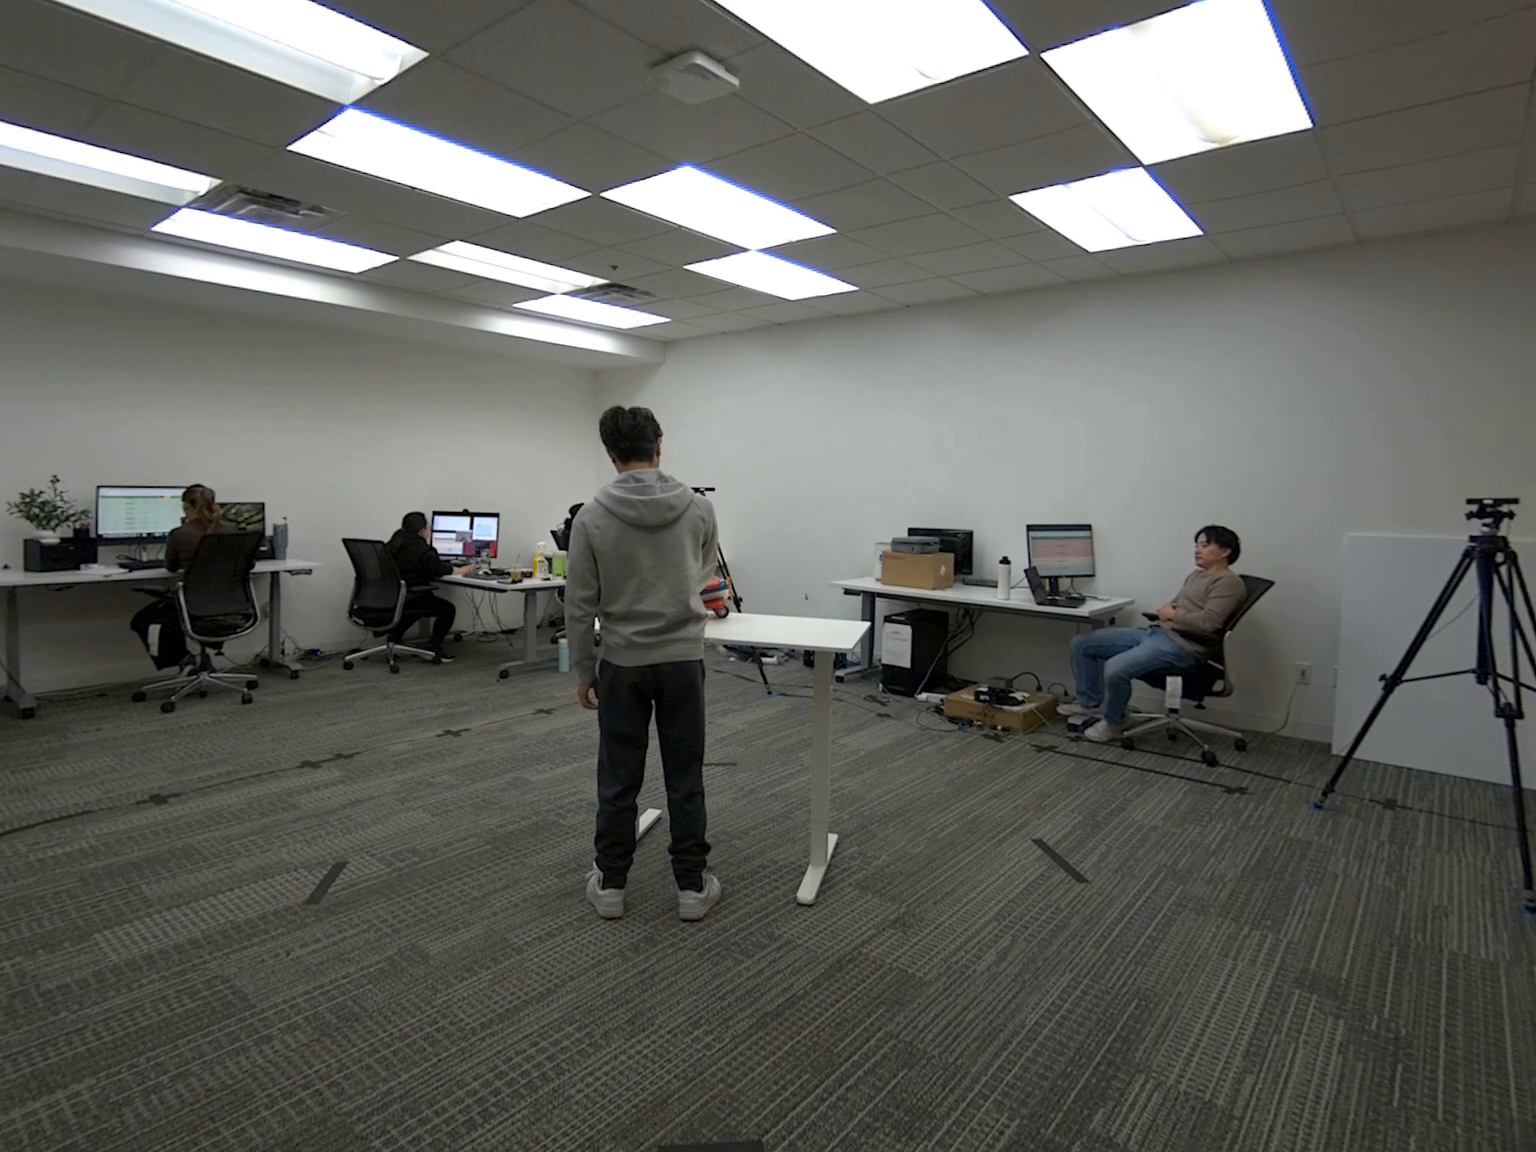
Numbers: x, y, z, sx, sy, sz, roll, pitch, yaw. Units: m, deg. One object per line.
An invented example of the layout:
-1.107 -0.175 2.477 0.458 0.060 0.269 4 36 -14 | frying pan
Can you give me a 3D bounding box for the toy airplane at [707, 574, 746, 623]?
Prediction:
-0.274 0.083 3.342 0.251 0.156 0.260 -1 7 -36 | toy airplane
